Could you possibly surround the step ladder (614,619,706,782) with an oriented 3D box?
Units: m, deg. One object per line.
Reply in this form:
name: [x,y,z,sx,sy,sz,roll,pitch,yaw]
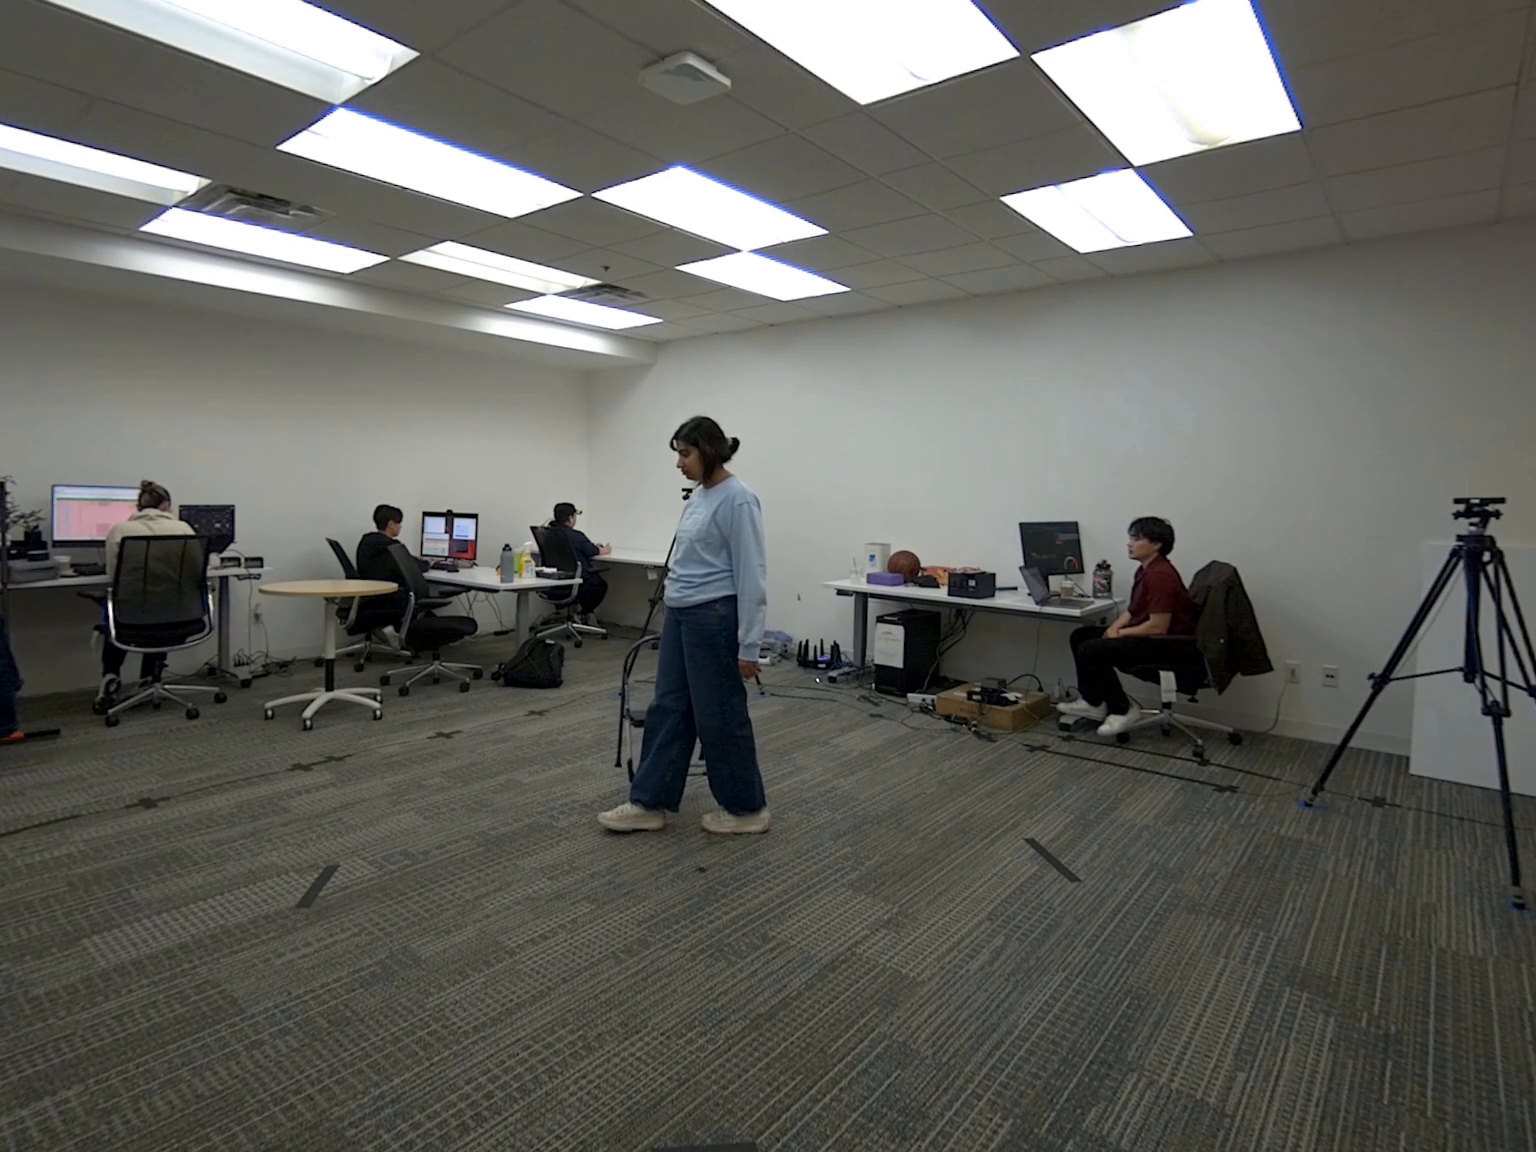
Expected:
step ladder: [-0.462,0.557,3.798,0.423,0.607,0.355,-1,-2,-19]
